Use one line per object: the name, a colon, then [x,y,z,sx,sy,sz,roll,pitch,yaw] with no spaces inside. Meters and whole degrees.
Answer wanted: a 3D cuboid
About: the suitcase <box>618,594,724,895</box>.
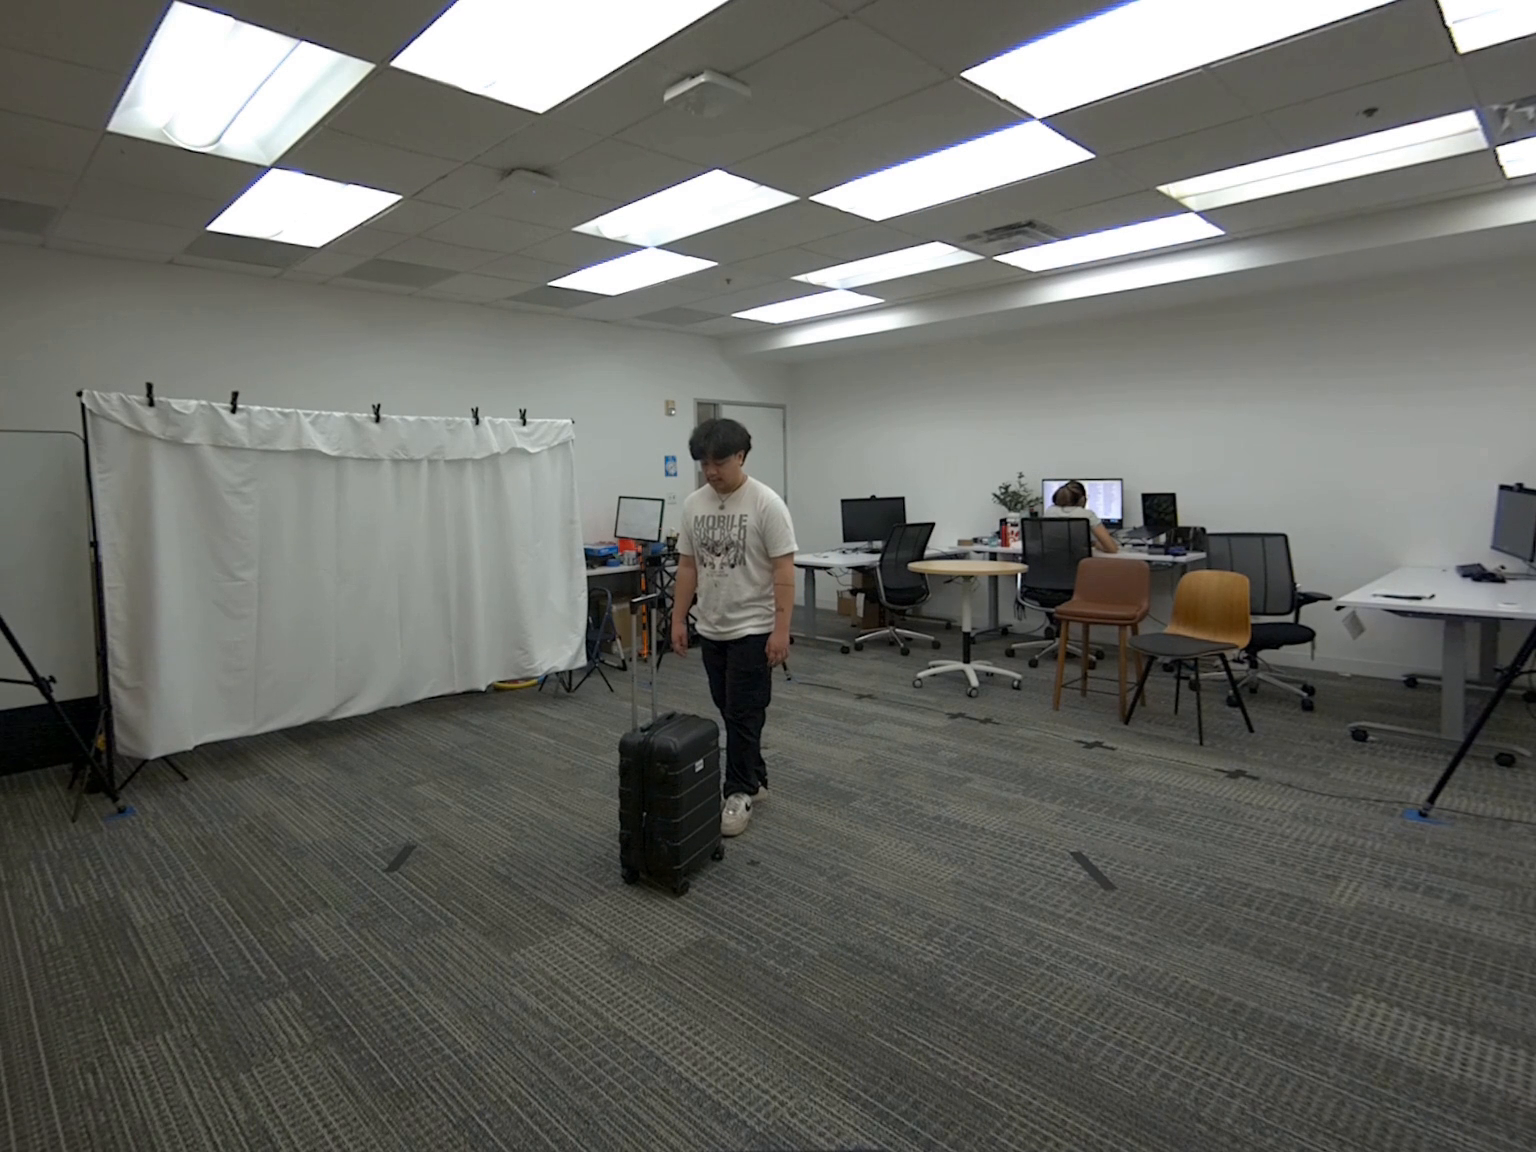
suitcase: [-0.340,0.585,3.007,0.263,0.973,0.377,4,7,26]
